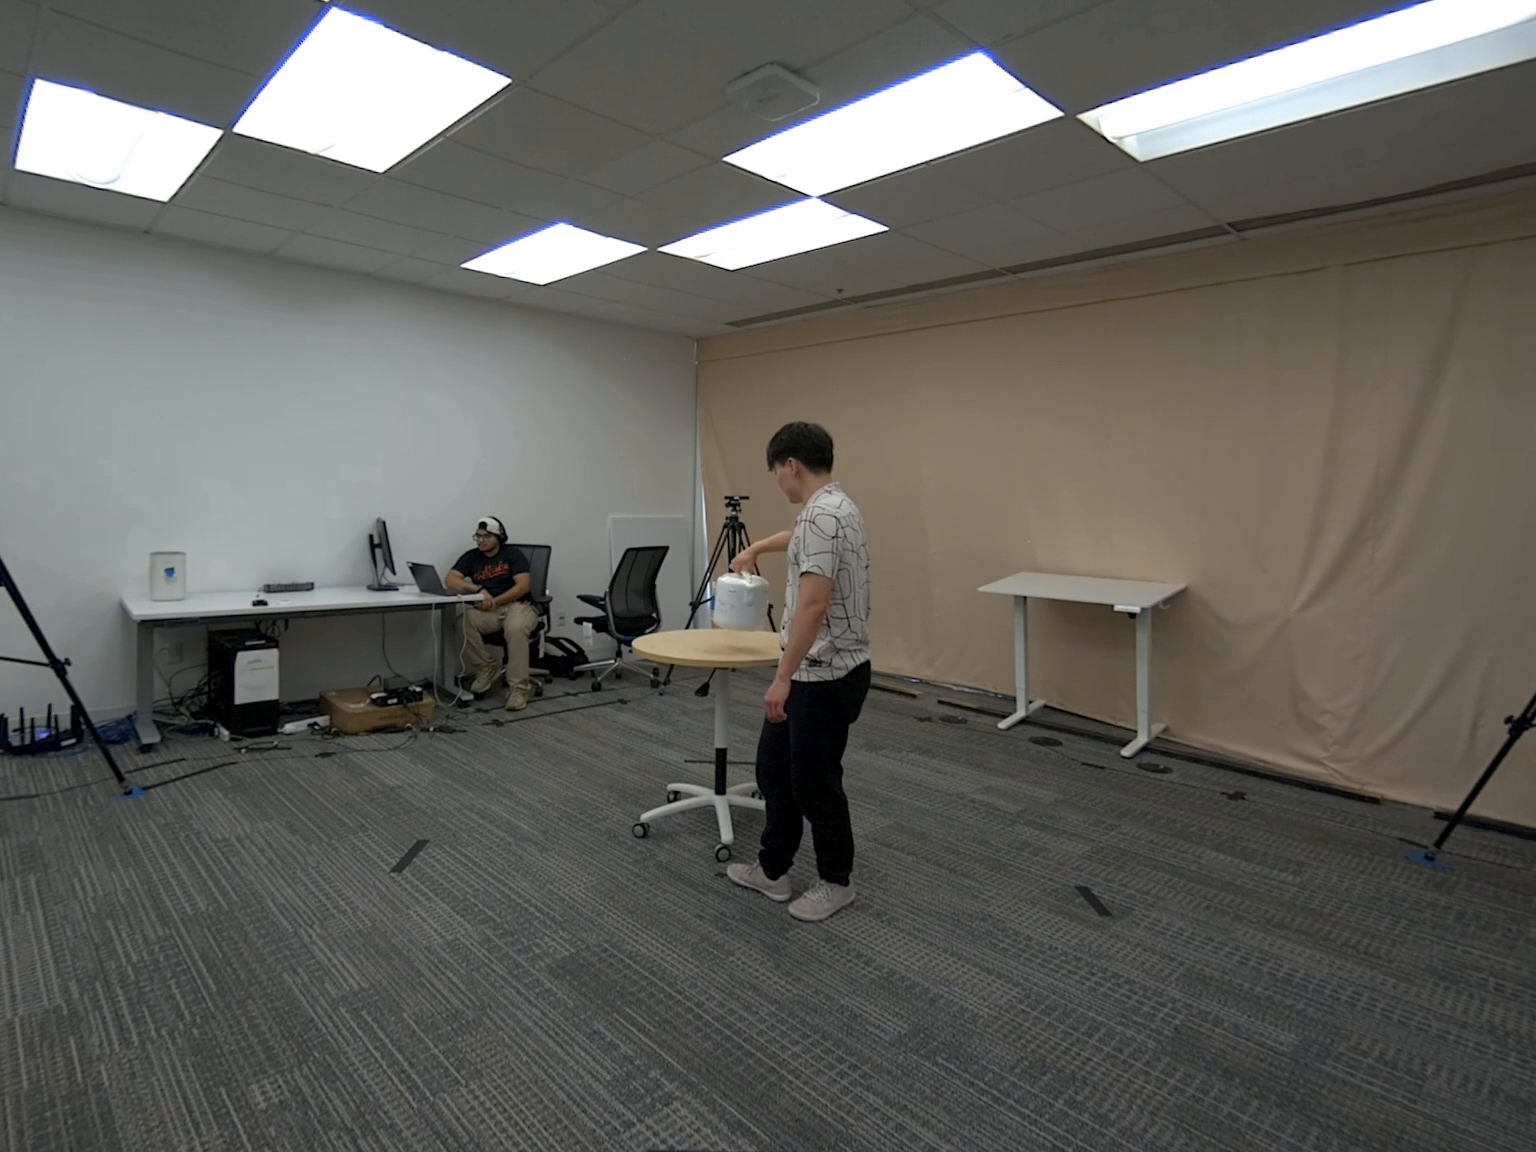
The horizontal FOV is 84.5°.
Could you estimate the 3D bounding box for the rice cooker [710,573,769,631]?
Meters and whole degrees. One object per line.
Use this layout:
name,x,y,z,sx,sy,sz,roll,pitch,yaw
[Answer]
rice cooker,-0.108,0.091,3.352,0.214,0.232,0.224,1,6,-17
